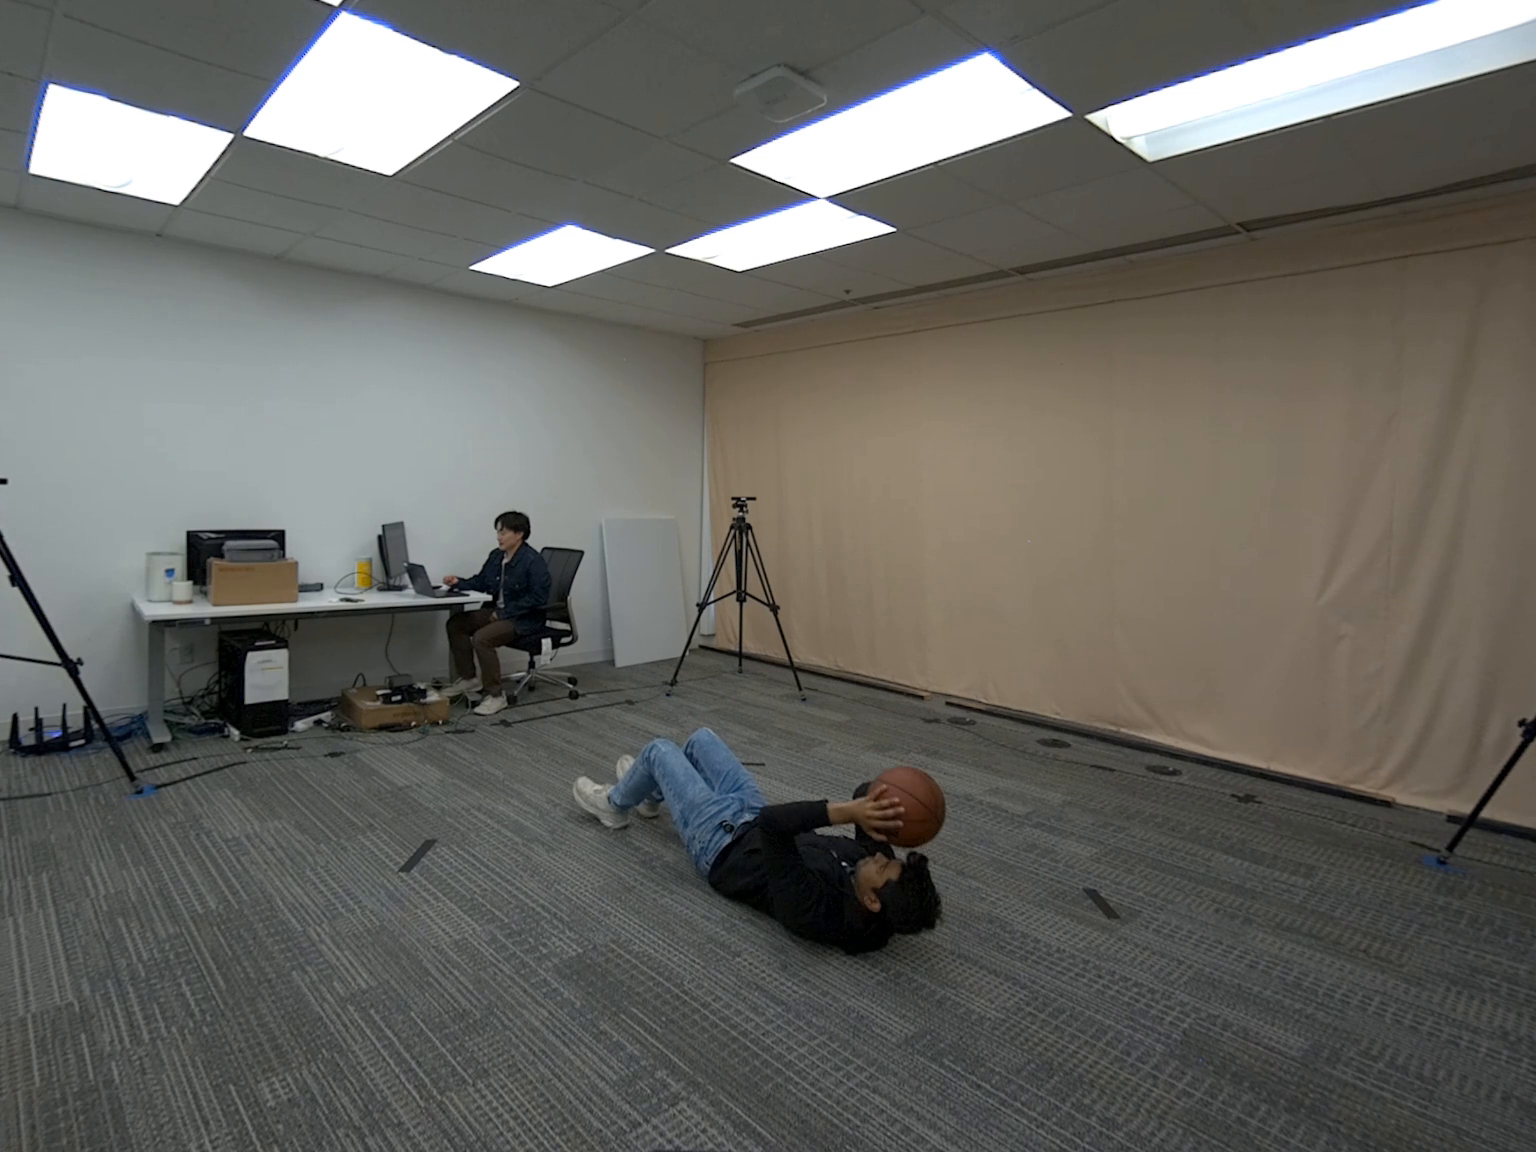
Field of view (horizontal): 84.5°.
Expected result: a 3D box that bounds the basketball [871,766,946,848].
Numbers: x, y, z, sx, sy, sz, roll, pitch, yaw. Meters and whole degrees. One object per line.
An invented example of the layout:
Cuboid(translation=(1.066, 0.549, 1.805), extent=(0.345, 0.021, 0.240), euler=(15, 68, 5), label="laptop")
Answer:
Cuboid(translation=(0.405, 0.705, 2.568), extent=(0.236, 0.235, 0.237), euler=(1, 4, -1), label="basketball")
